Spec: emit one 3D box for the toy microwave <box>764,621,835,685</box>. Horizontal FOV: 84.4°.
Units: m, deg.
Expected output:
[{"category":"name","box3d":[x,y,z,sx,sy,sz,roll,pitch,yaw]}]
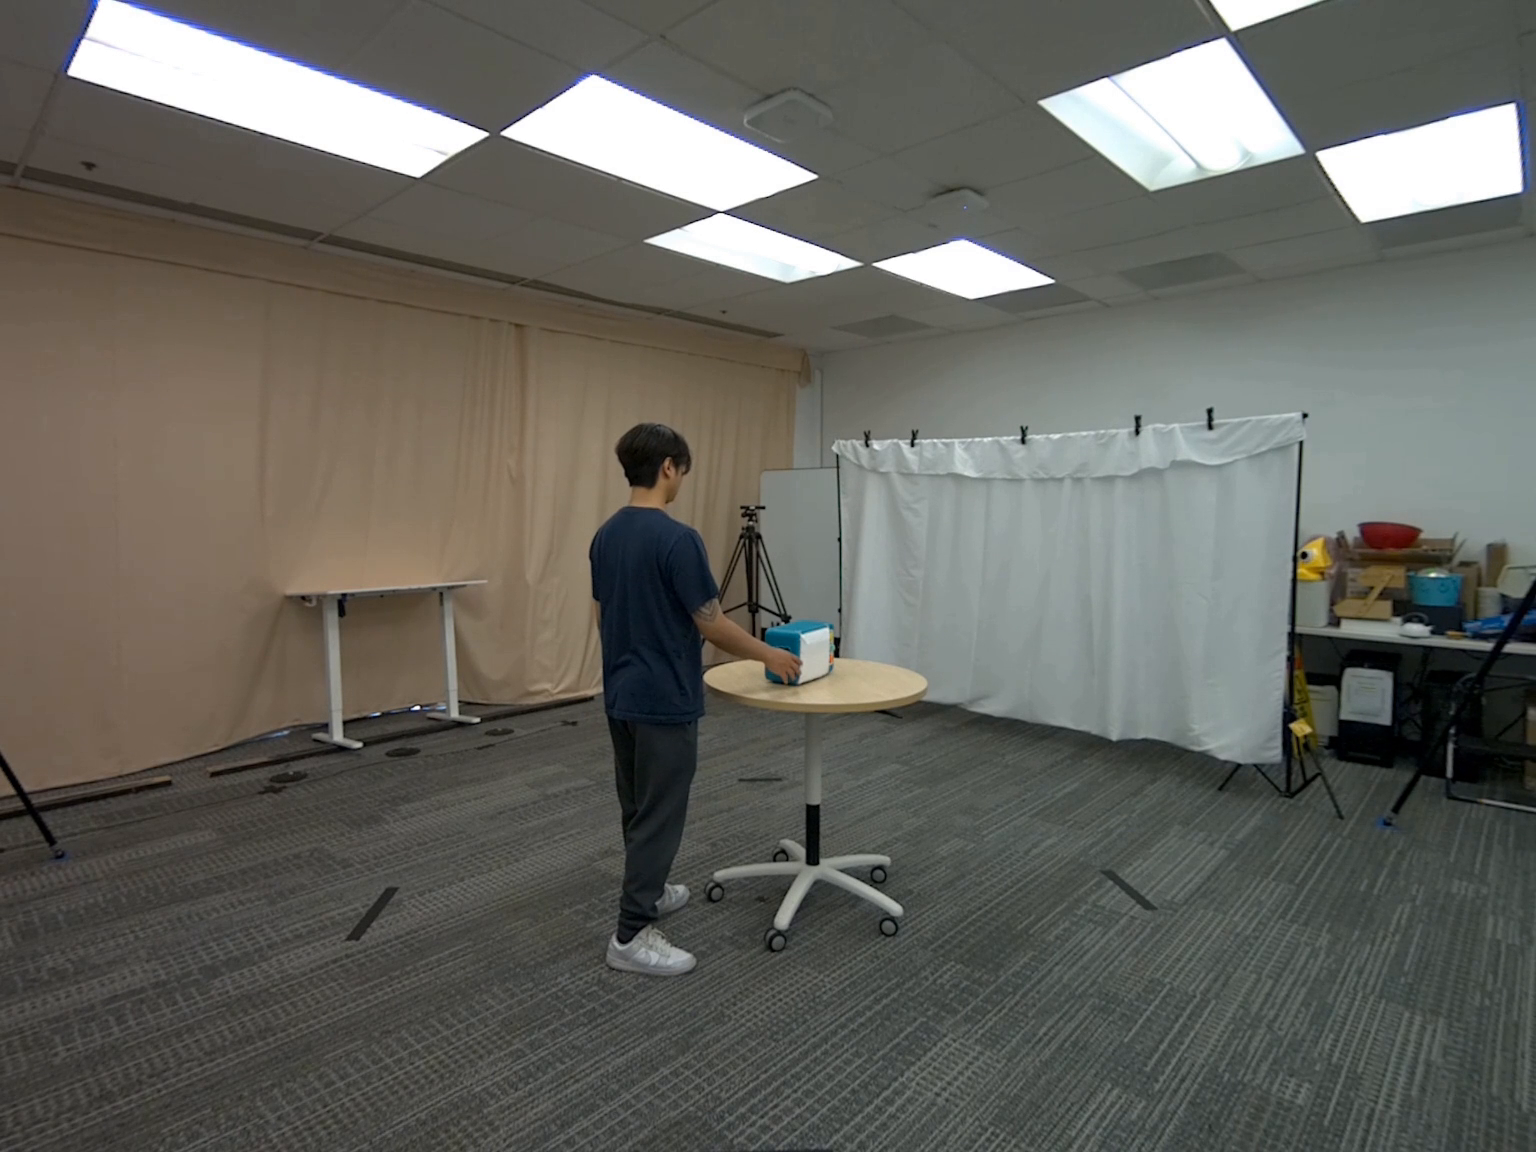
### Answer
[{"category":"toy microwave","box3d":[0.129,0.264,2.895,0.156,0.183,0.279,4,6,27]}]
